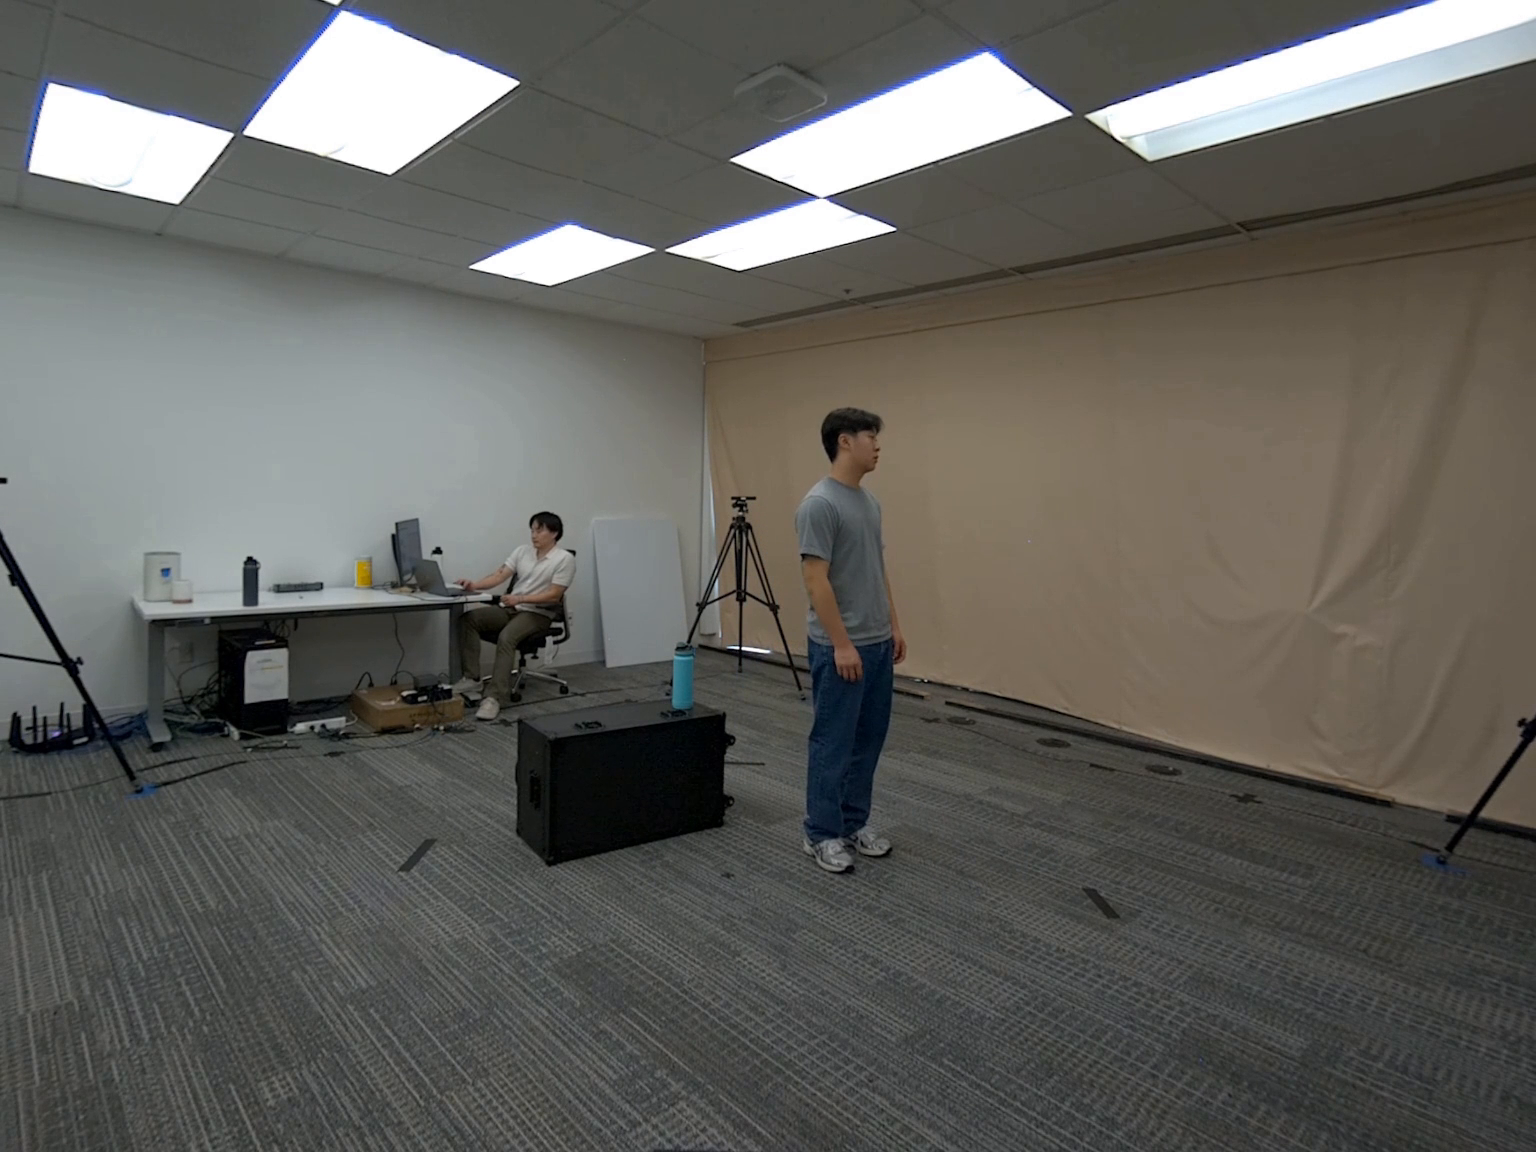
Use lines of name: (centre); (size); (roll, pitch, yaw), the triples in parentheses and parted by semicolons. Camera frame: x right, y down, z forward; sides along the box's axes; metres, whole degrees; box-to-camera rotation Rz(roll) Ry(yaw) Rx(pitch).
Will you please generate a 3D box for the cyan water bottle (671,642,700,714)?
cyan water bottle: (-0.358, 0.435, 3.650); (0.092, 0.283, 0.092); (5, 3, -2)
